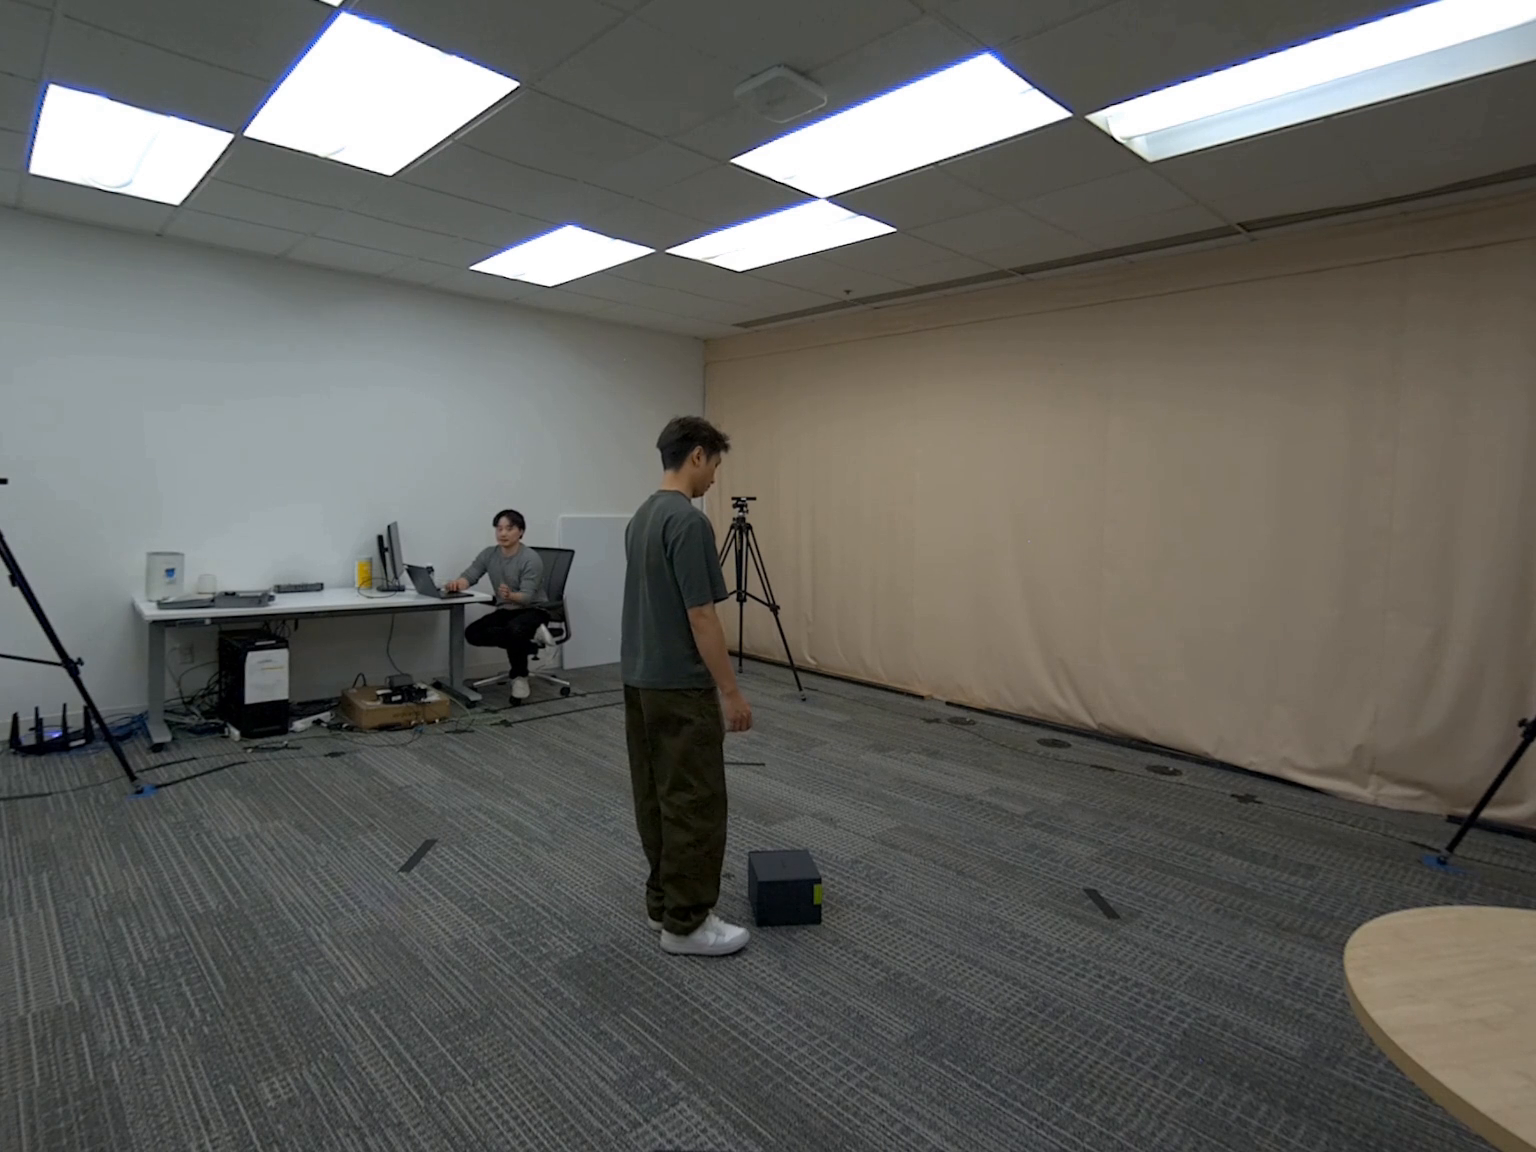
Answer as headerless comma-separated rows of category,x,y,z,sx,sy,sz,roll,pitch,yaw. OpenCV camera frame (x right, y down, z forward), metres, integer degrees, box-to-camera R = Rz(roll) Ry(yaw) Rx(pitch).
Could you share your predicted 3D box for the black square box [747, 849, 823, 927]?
black square box,0.049,1.047,2.852,0.215,0.155,0.230,0,4,-9
